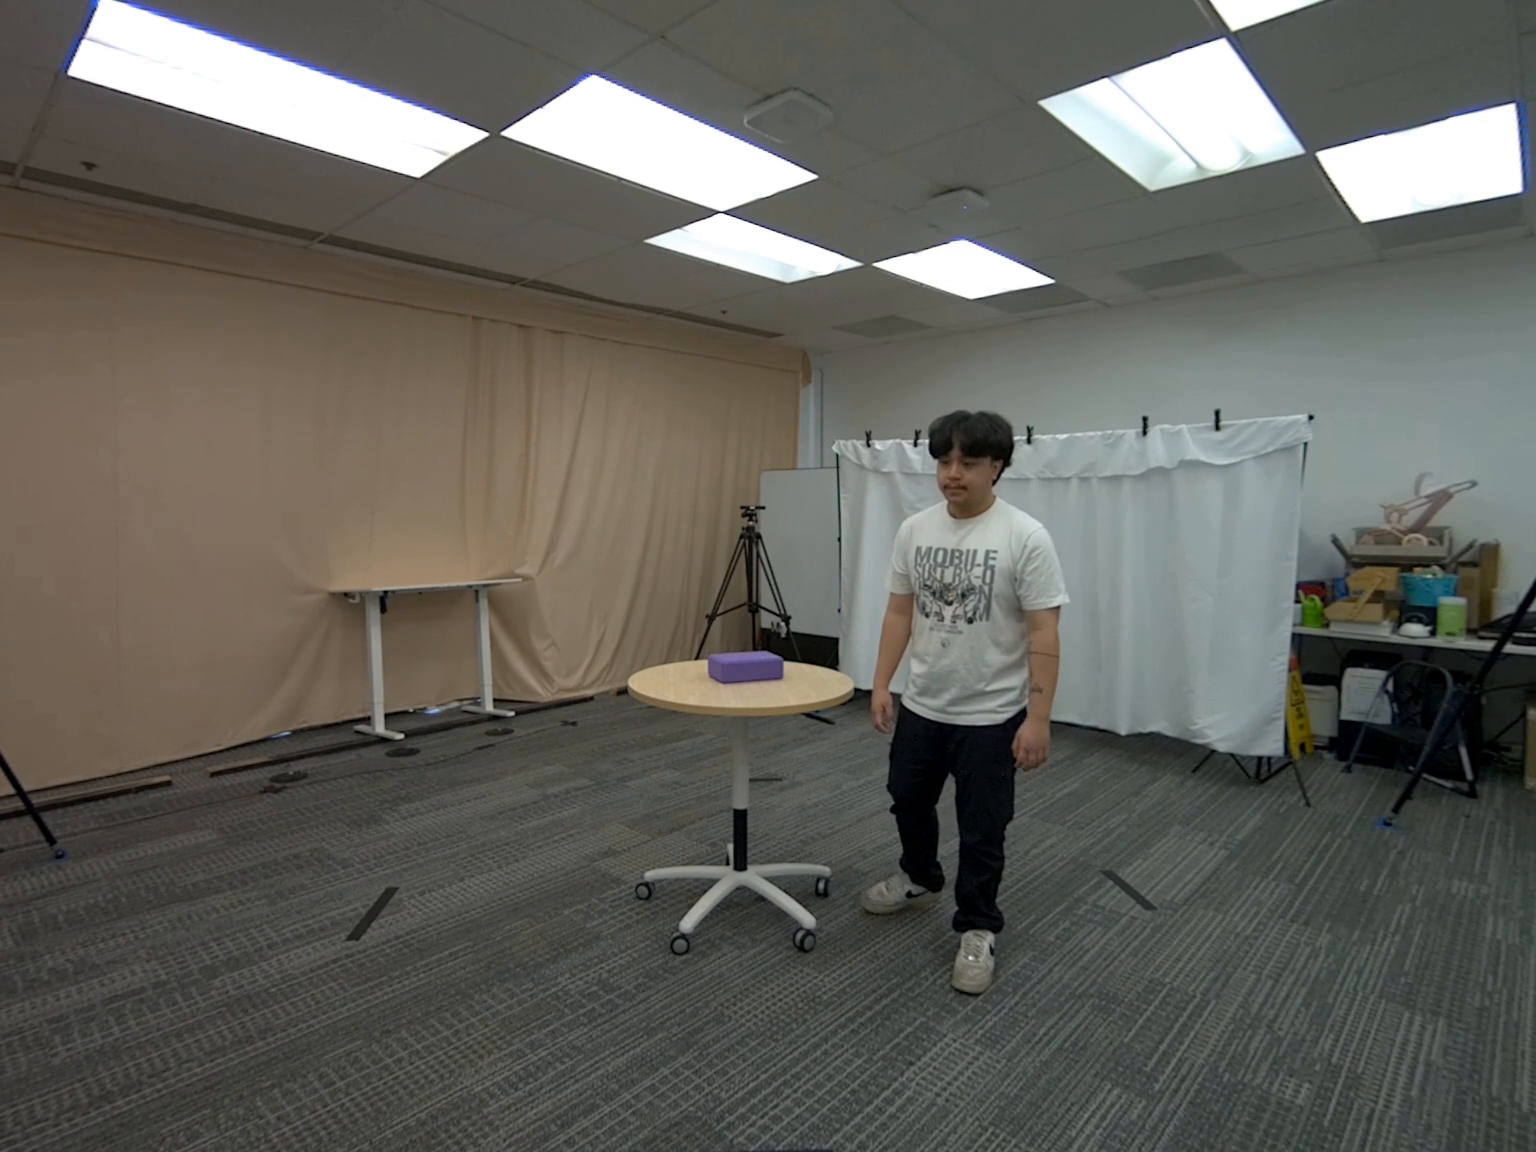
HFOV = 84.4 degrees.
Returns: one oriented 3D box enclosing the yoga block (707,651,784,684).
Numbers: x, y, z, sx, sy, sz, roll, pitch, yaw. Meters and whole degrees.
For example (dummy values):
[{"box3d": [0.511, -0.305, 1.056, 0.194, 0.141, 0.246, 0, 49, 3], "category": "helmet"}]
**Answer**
[{"box3d": [-0.076, 0.314, 2.904, 0.224, 0.076, 0.152, -1, 5, -21], "category": "yoga block"}]
